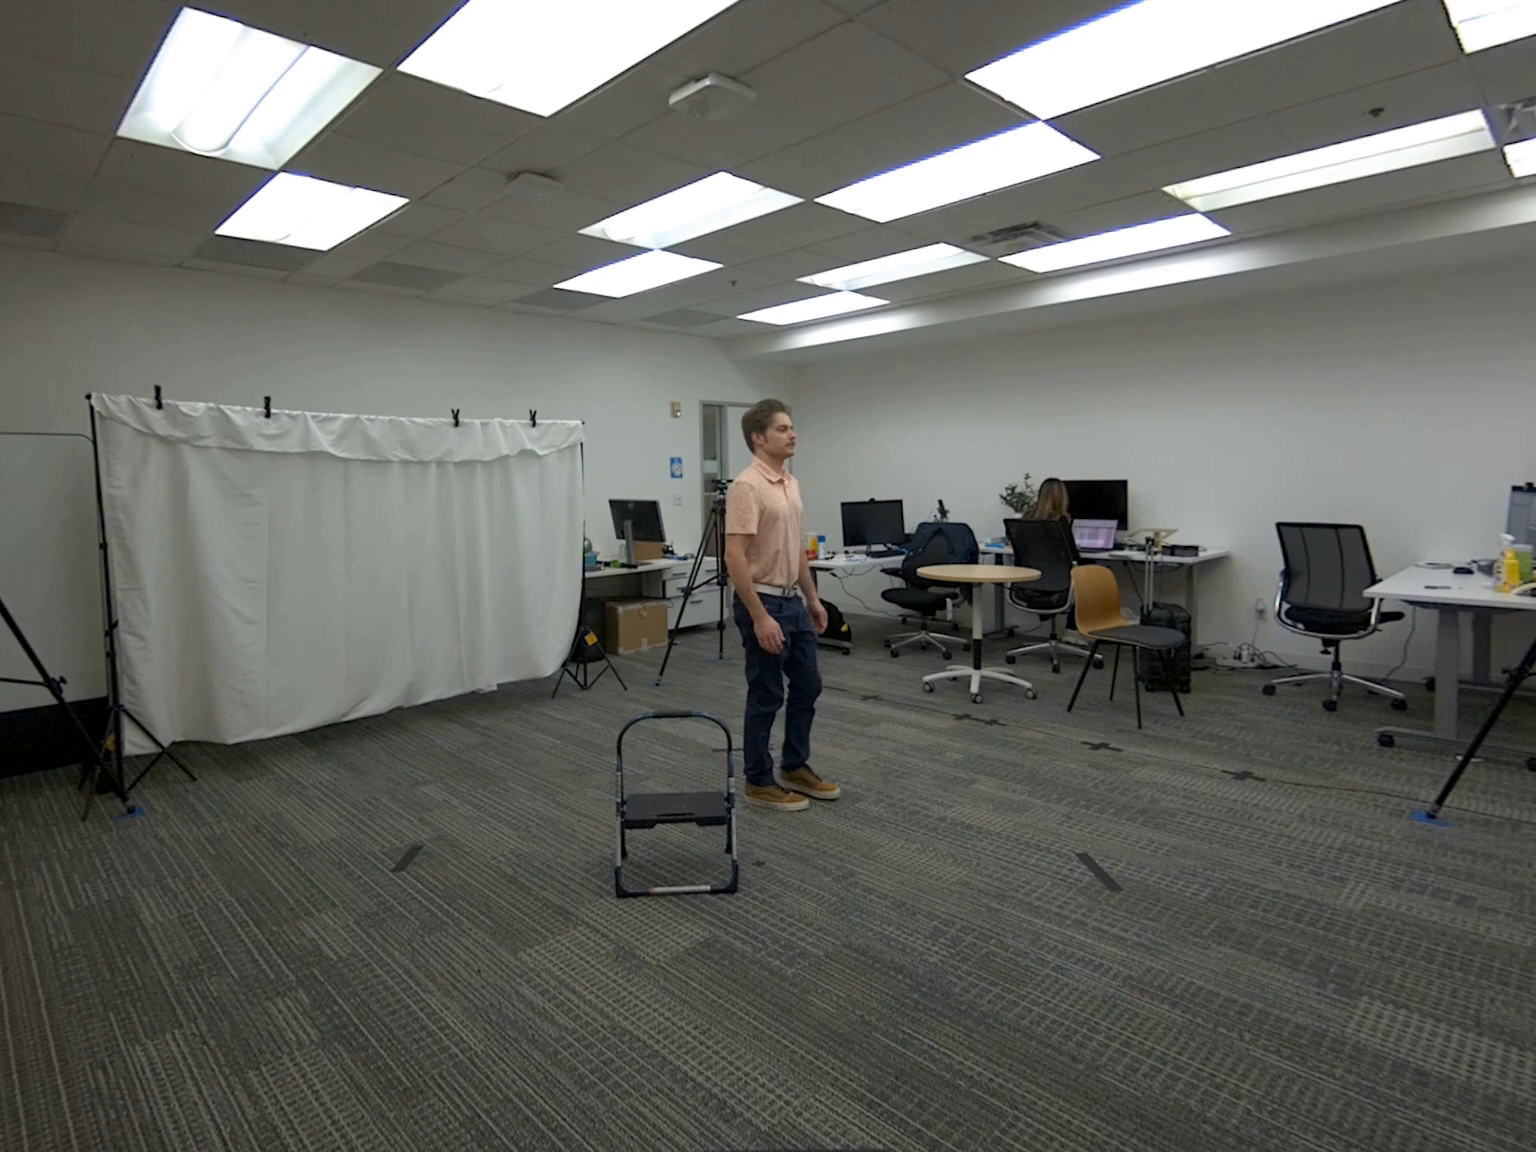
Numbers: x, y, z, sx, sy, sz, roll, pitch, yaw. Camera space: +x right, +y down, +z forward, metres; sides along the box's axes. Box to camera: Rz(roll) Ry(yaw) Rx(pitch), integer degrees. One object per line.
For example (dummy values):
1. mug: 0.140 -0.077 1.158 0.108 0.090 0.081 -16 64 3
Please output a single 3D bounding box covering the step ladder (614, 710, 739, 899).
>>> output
1. step ladder: -0.330 0.761 3.027 0.428 0.604 0.352 -2 4 -6
